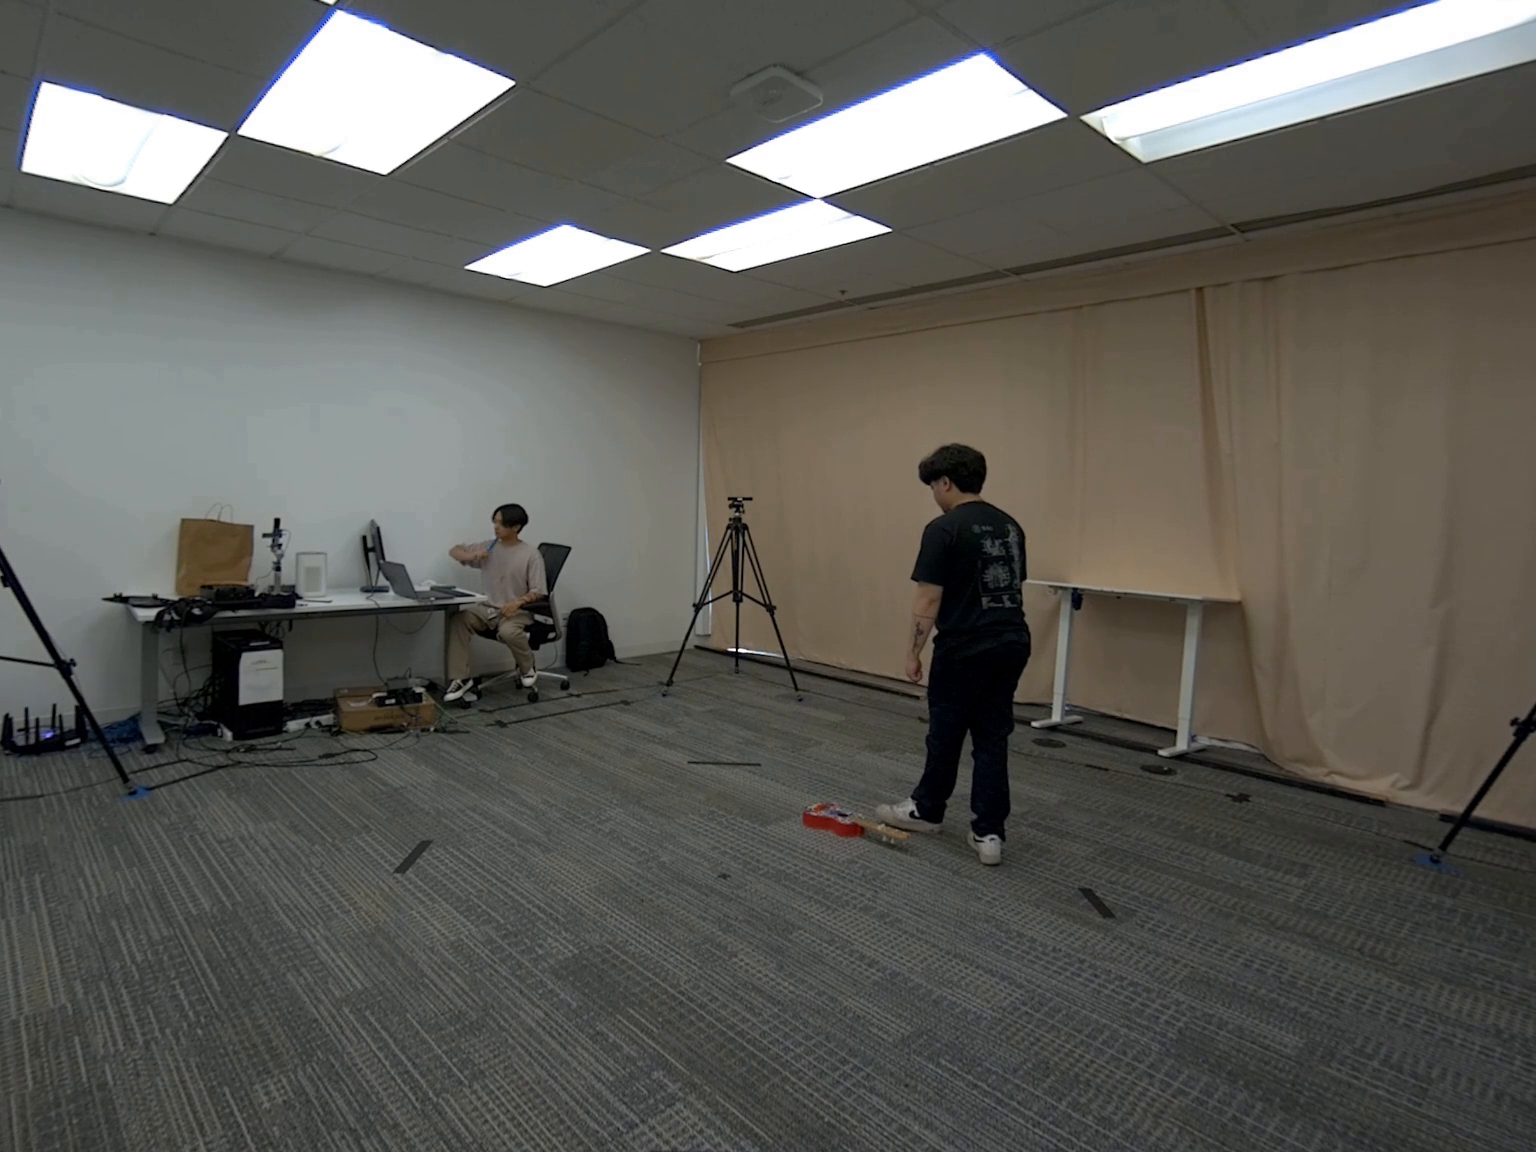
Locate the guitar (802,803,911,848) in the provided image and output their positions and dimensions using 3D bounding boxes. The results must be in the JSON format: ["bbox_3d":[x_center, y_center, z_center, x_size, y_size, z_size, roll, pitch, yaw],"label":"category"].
[{"bbox_3d":[0.347,1.045,3.519,0.189,0.070,0.510,-2,5,-37],"label":"guitar"}]
